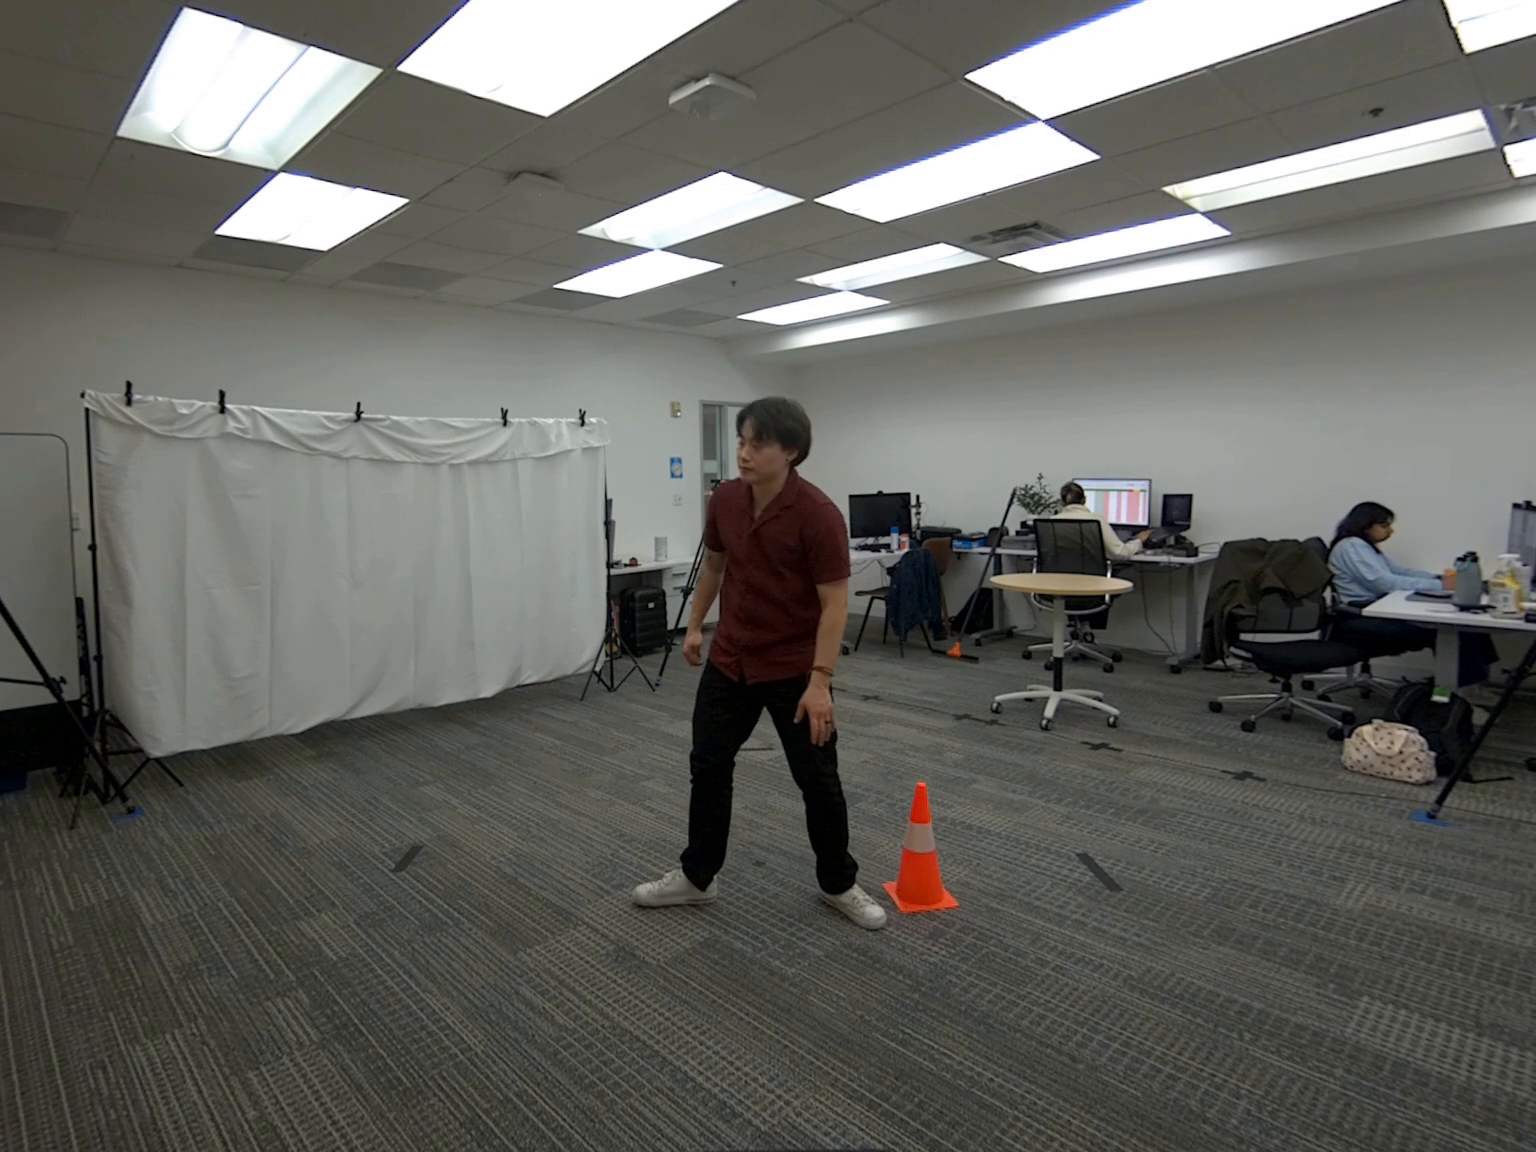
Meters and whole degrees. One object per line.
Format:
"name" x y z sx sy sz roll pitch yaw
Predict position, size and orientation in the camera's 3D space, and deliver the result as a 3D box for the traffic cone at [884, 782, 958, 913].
"traffic cone" 0.499 0.877 2.846 0.203 0.382 0.206 -3 4 -13
